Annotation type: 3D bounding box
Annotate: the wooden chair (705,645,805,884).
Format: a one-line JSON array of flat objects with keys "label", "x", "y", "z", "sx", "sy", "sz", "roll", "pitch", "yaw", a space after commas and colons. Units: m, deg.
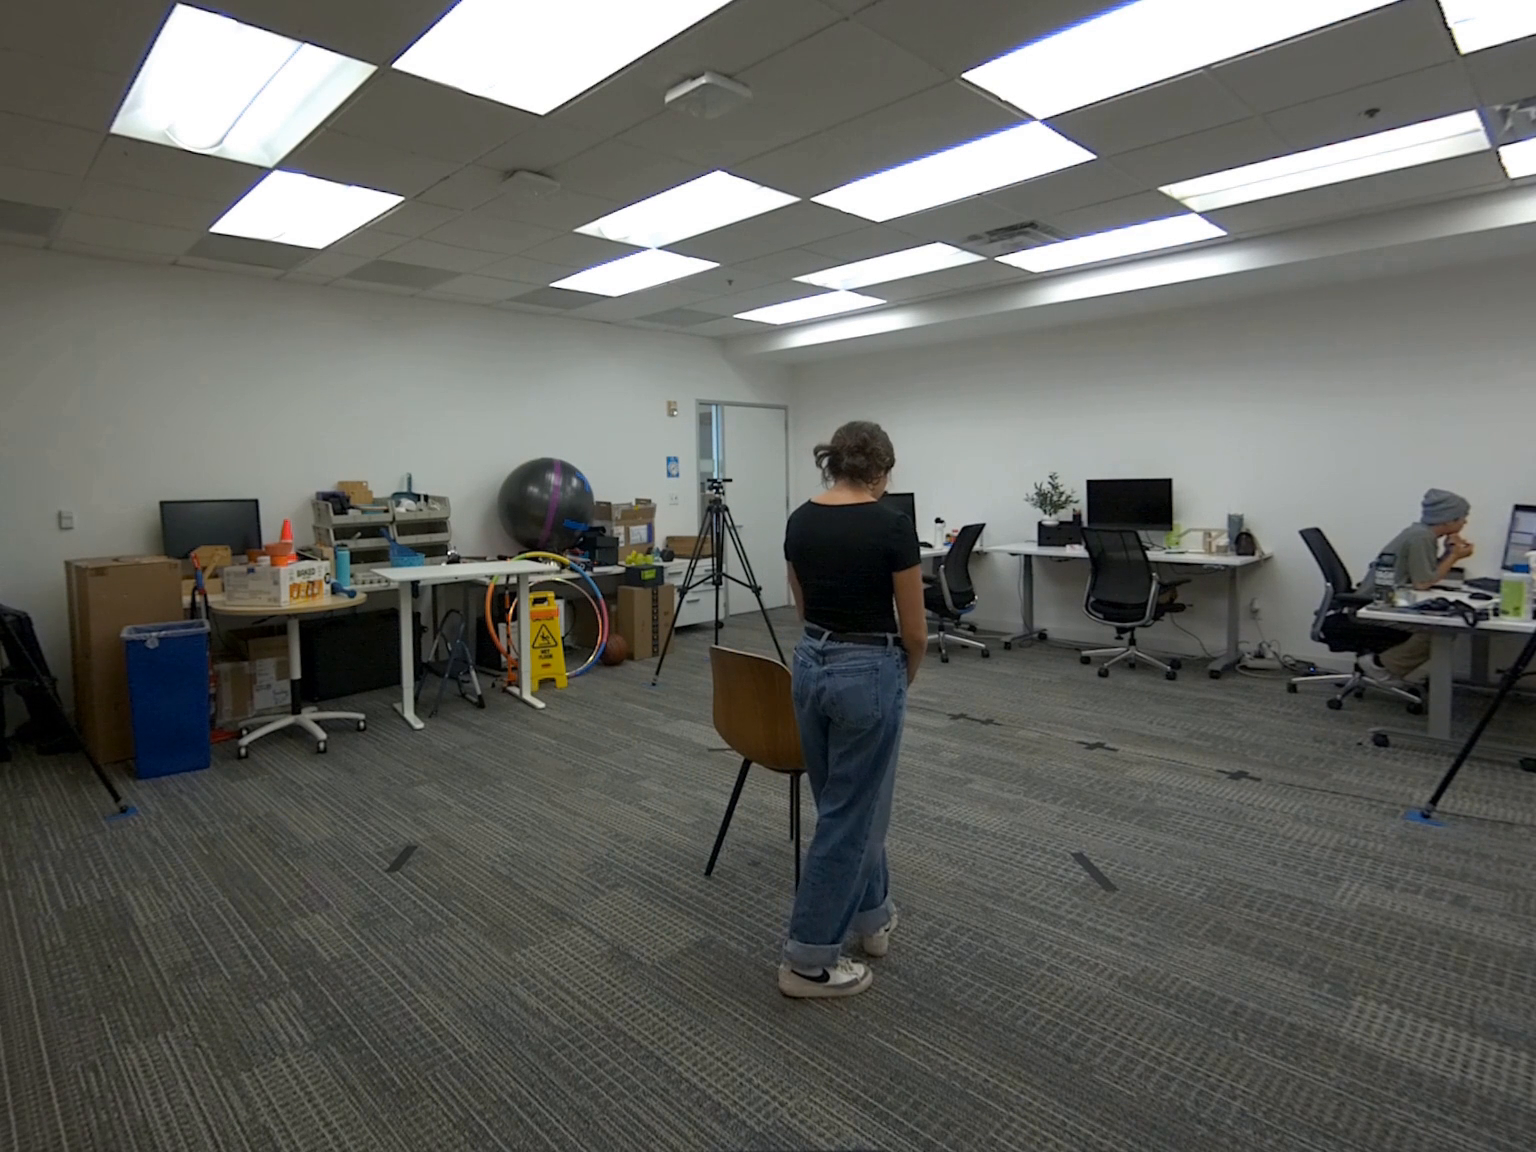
[{"label": "wooden chair", "x": 0.093, "y": 0.632, "z": 2.976, "sx": 0.511, "sy": 0.871, "sz": 0.493, "roll": -10, "pitch": 10, "yaw": -44}]
